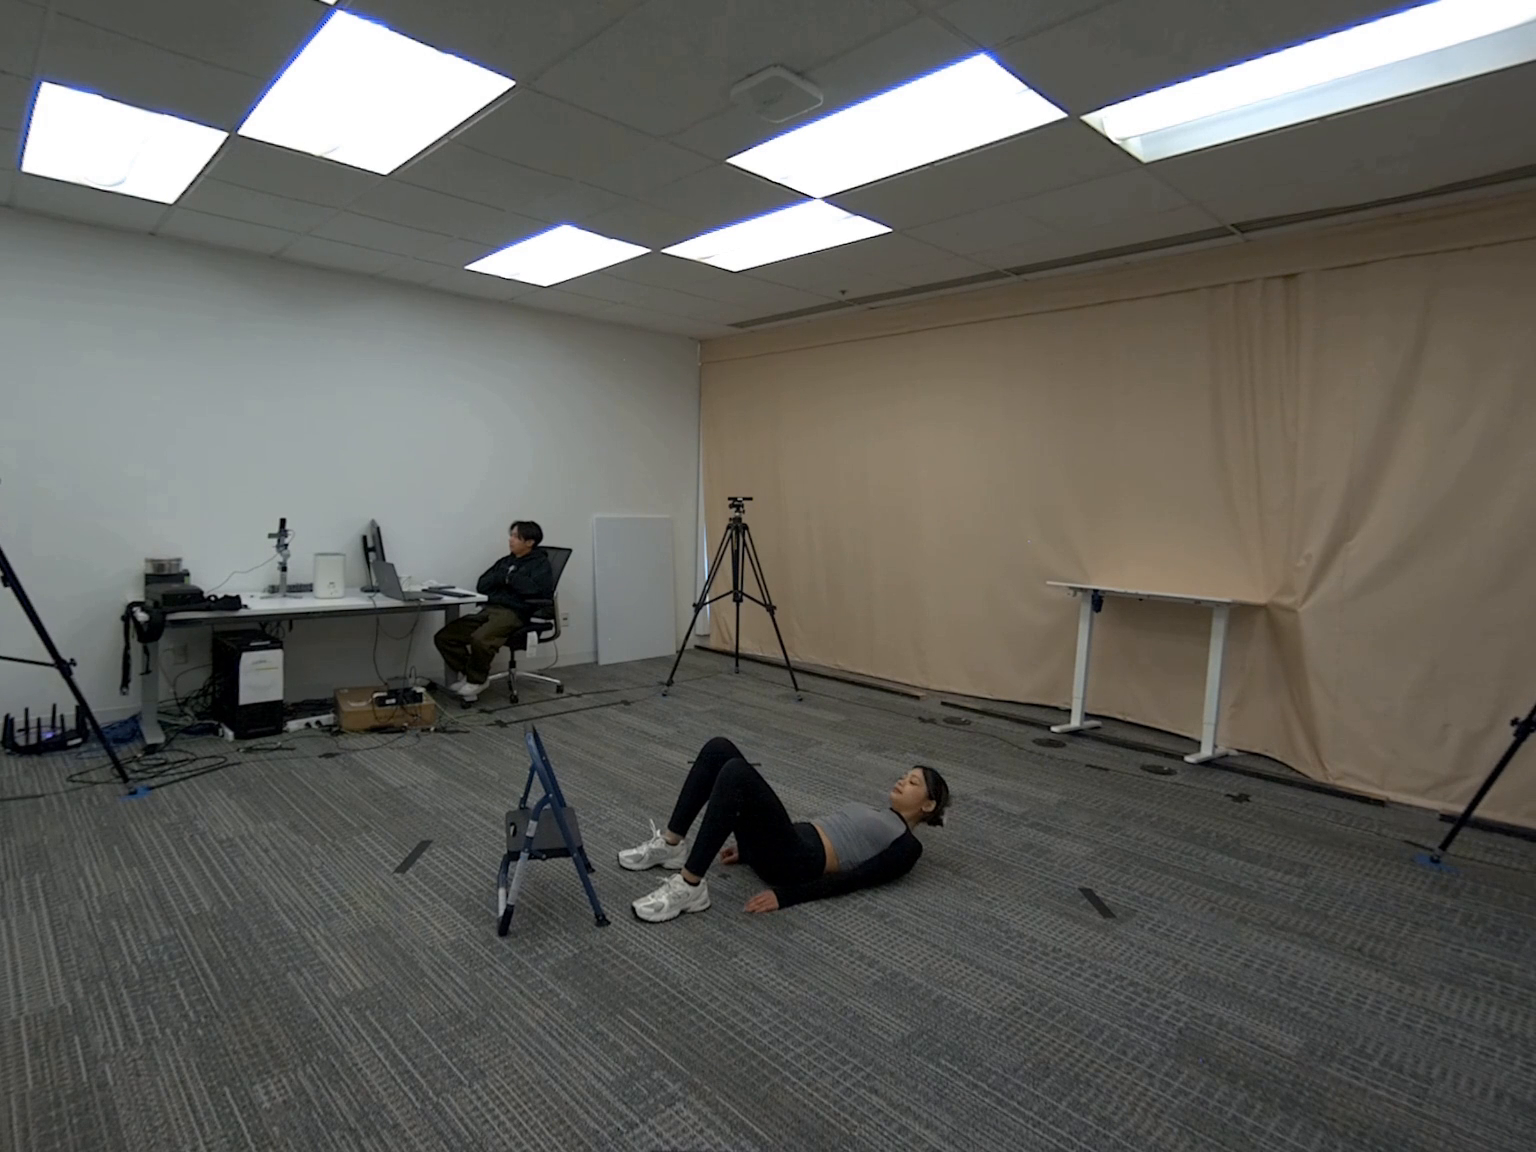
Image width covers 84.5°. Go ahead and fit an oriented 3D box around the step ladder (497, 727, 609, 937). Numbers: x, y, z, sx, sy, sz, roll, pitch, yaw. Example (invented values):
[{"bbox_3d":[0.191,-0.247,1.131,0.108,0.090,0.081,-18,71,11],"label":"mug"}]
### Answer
[{"bbox_3d":[-0.743,0.815,2.862,0.344,0.604,0.438,0,4,-18],"label":"step ladder"}]
